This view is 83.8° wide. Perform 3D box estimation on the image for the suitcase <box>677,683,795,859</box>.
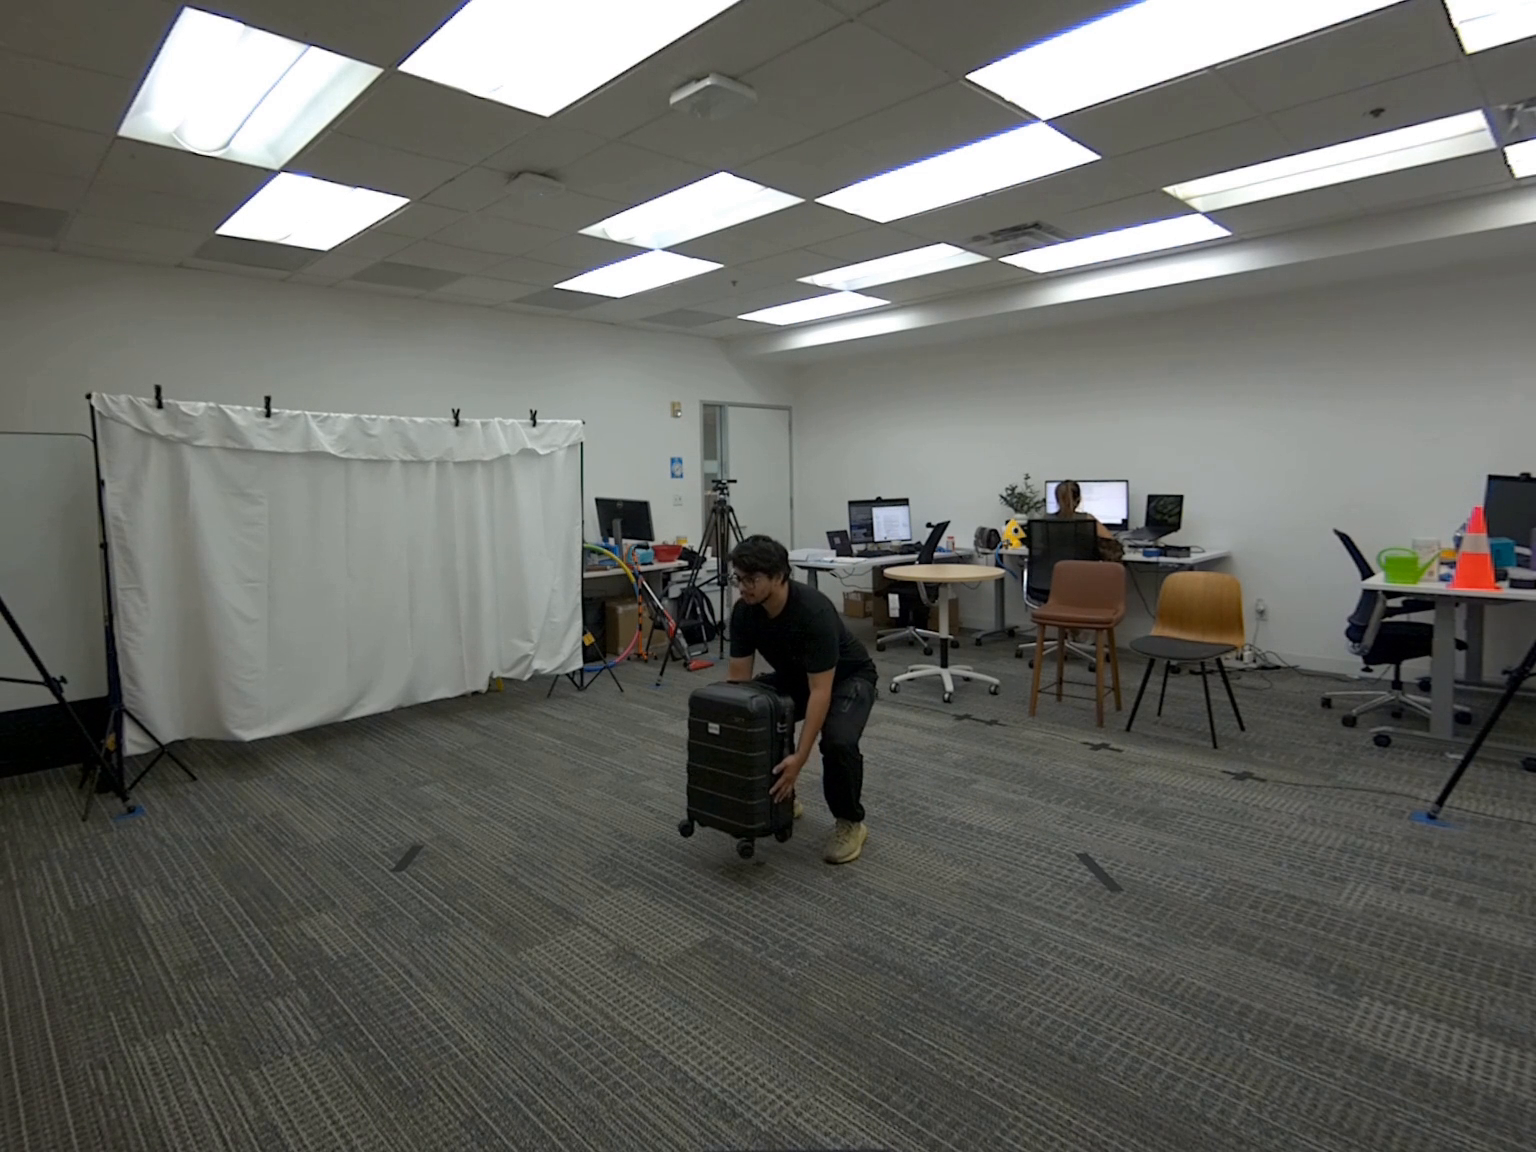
[{"bbox_3d":[-0.100,0.660,3.054,0.387,0.549,0.241,2,1,43],"label":"suitcase"}]
